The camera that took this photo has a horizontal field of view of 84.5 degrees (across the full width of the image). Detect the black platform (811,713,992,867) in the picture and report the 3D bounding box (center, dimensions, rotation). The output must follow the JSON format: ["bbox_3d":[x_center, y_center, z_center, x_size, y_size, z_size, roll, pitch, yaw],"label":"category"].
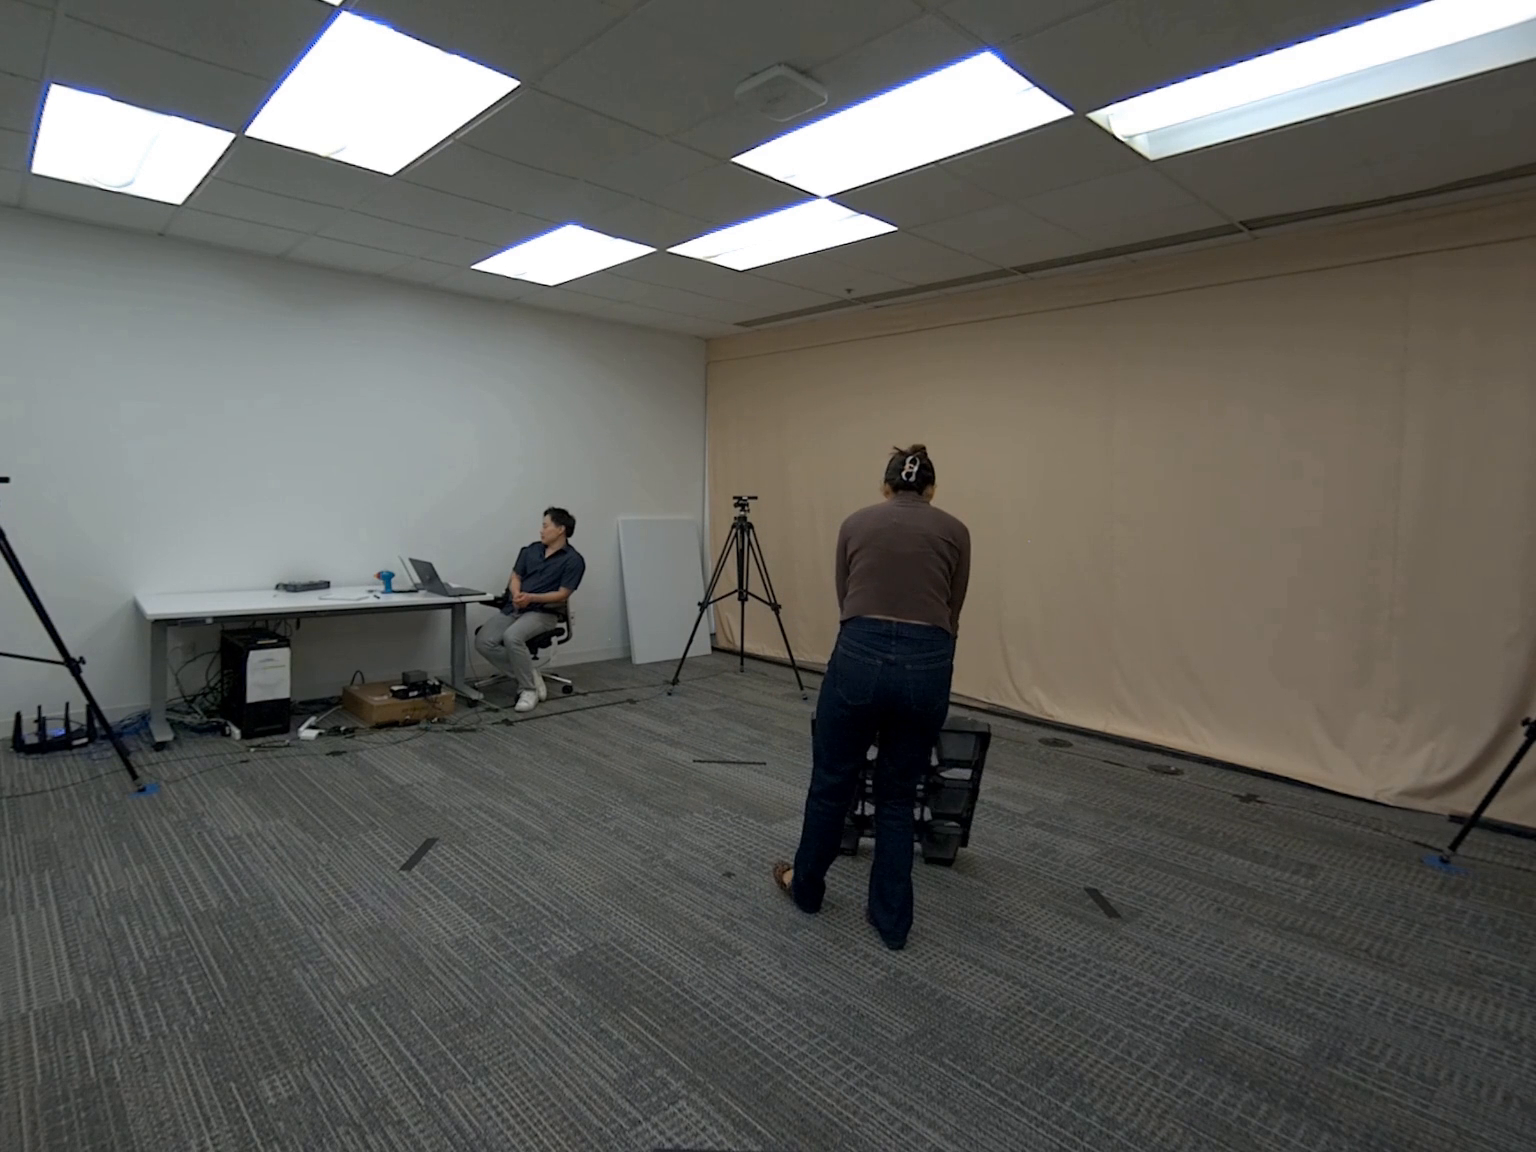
[{"bbox_3d":[0.453,0.795,3.068,0.609,0.786,0.146,2,44,8],"label":"black platform"}]
